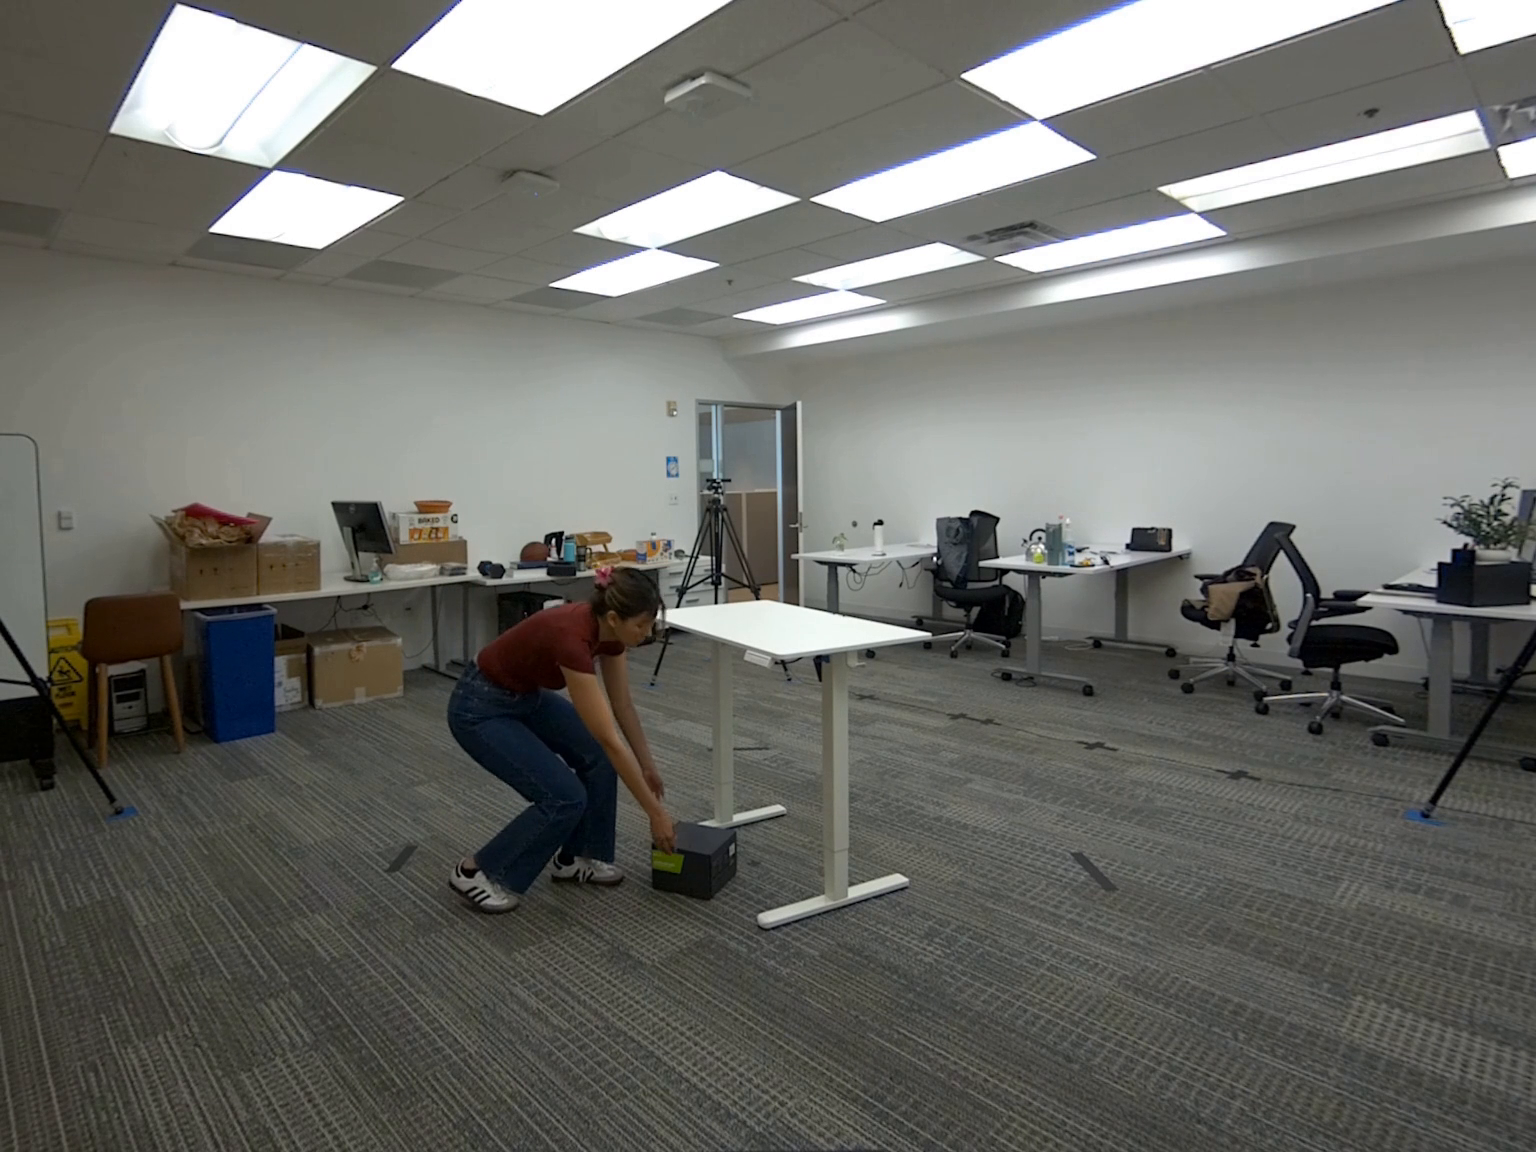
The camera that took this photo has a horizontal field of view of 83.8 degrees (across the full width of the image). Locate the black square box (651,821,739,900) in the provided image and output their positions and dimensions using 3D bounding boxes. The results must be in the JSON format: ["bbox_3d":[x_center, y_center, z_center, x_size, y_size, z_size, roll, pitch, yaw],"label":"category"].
[{"bbox_3d":[-0.254,0.979,2.974,0.233,0.155,0.213,1,6,23],"label":"black square box"}]
